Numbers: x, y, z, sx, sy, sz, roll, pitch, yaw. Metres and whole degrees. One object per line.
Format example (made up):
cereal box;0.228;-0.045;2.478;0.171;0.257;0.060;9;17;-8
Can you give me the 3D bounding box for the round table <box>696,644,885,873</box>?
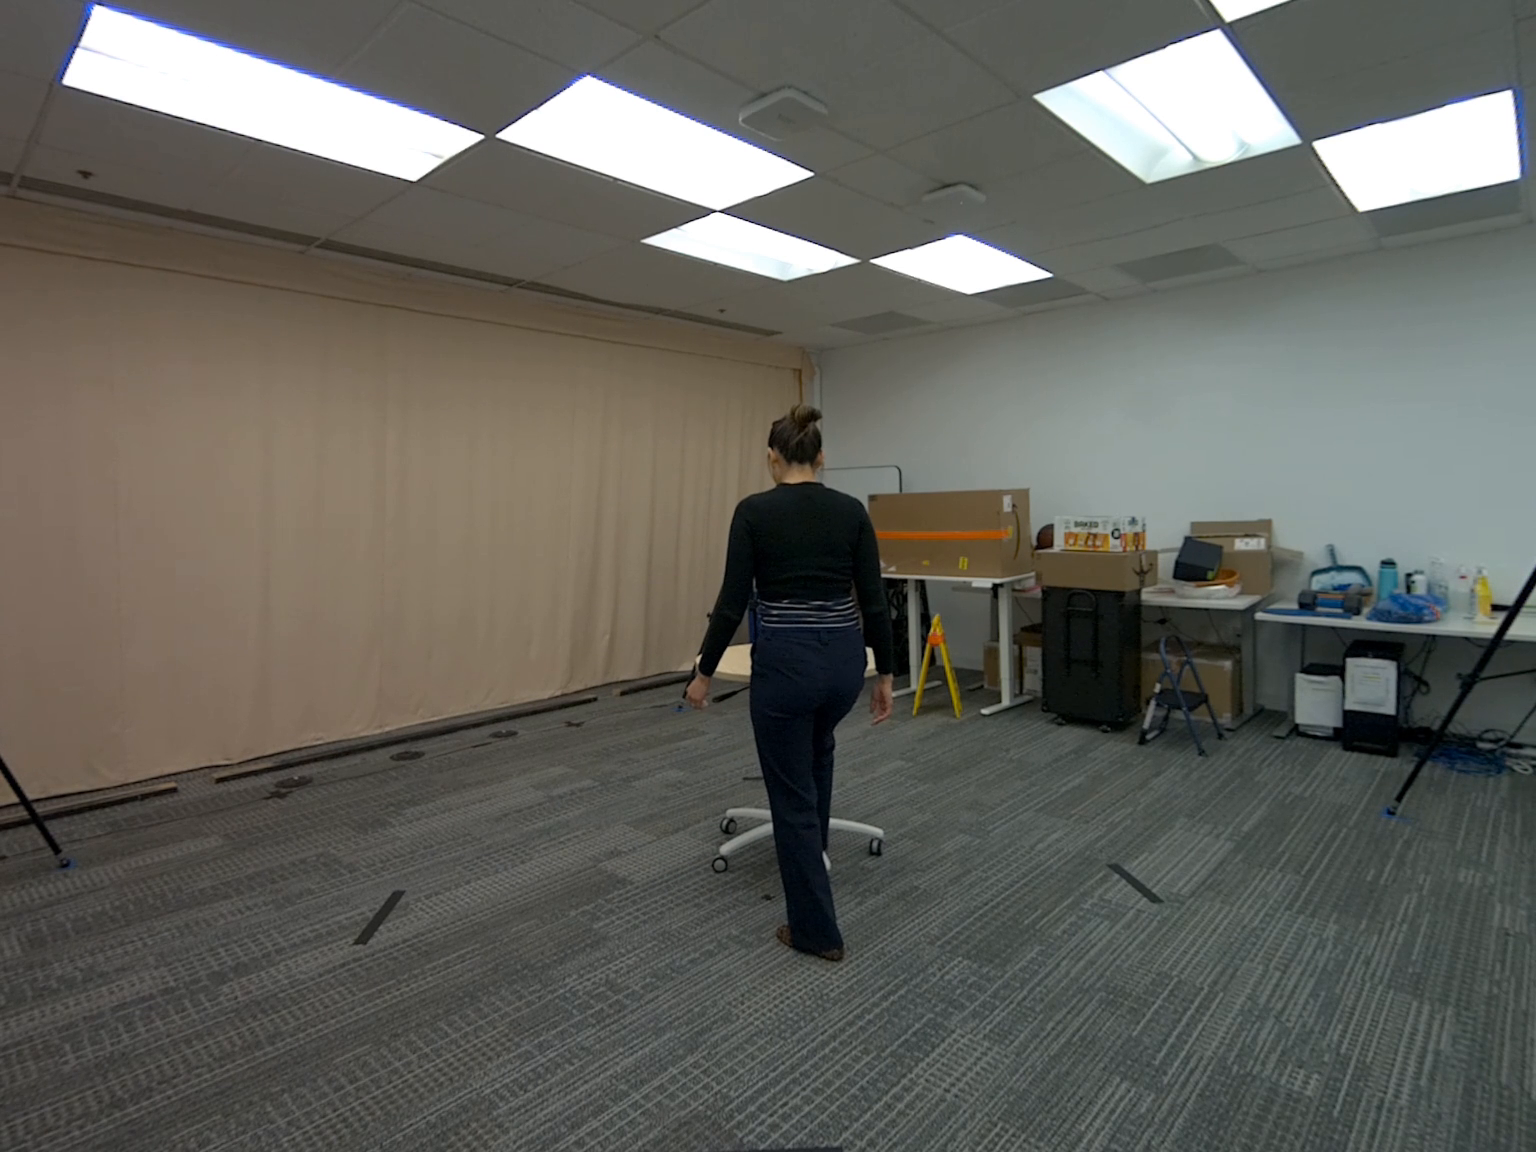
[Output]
round table;0.104;0.715;3.356;0.763;0.792;0.766;-1;3;-2
